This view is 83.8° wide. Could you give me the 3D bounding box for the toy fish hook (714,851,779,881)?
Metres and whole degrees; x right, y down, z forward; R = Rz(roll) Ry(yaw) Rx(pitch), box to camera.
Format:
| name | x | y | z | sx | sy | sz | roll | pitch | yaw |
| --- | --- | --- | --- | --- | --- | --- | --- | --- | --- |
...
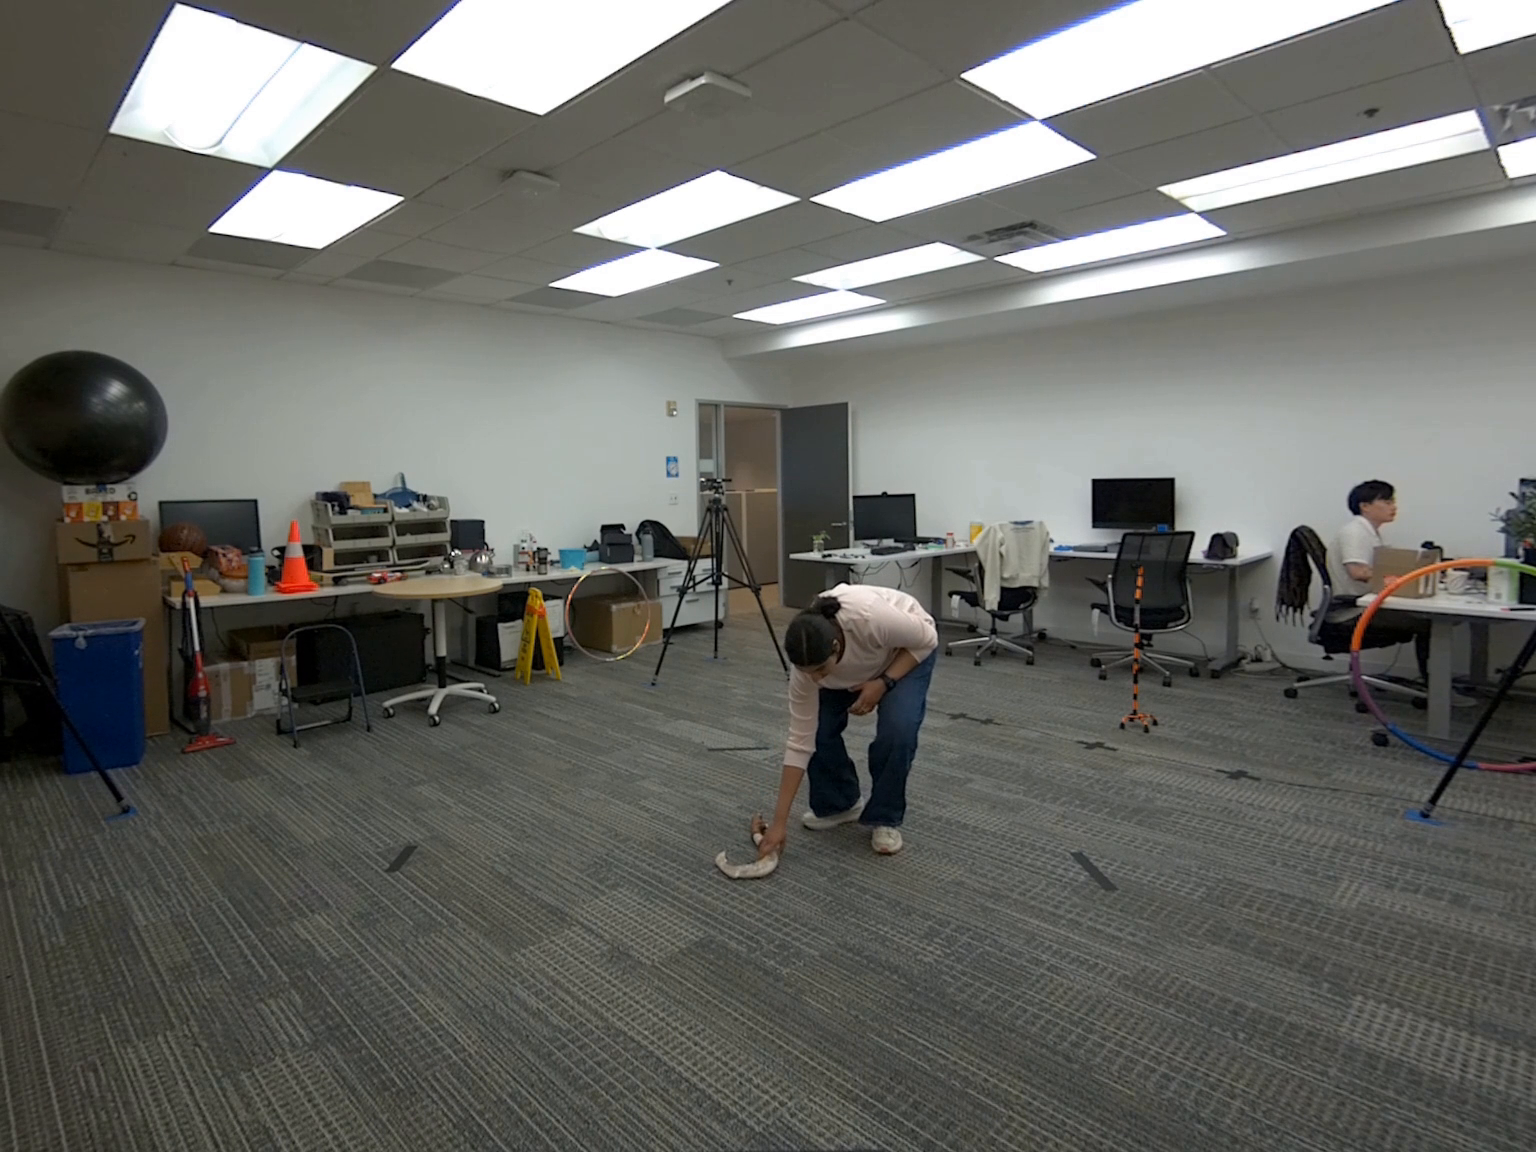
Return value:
| name | x | y | z | sx | sy | sz | roll | pitch | yaw |
| --- | --- | --- | --- | --- | --- | --- | --- | --- | --- |
| toy fish hook | -0.084 | 1.014 | 3.222 | 0.224 | 0.048 | 0.509 | -2 | 5 | -3 |
